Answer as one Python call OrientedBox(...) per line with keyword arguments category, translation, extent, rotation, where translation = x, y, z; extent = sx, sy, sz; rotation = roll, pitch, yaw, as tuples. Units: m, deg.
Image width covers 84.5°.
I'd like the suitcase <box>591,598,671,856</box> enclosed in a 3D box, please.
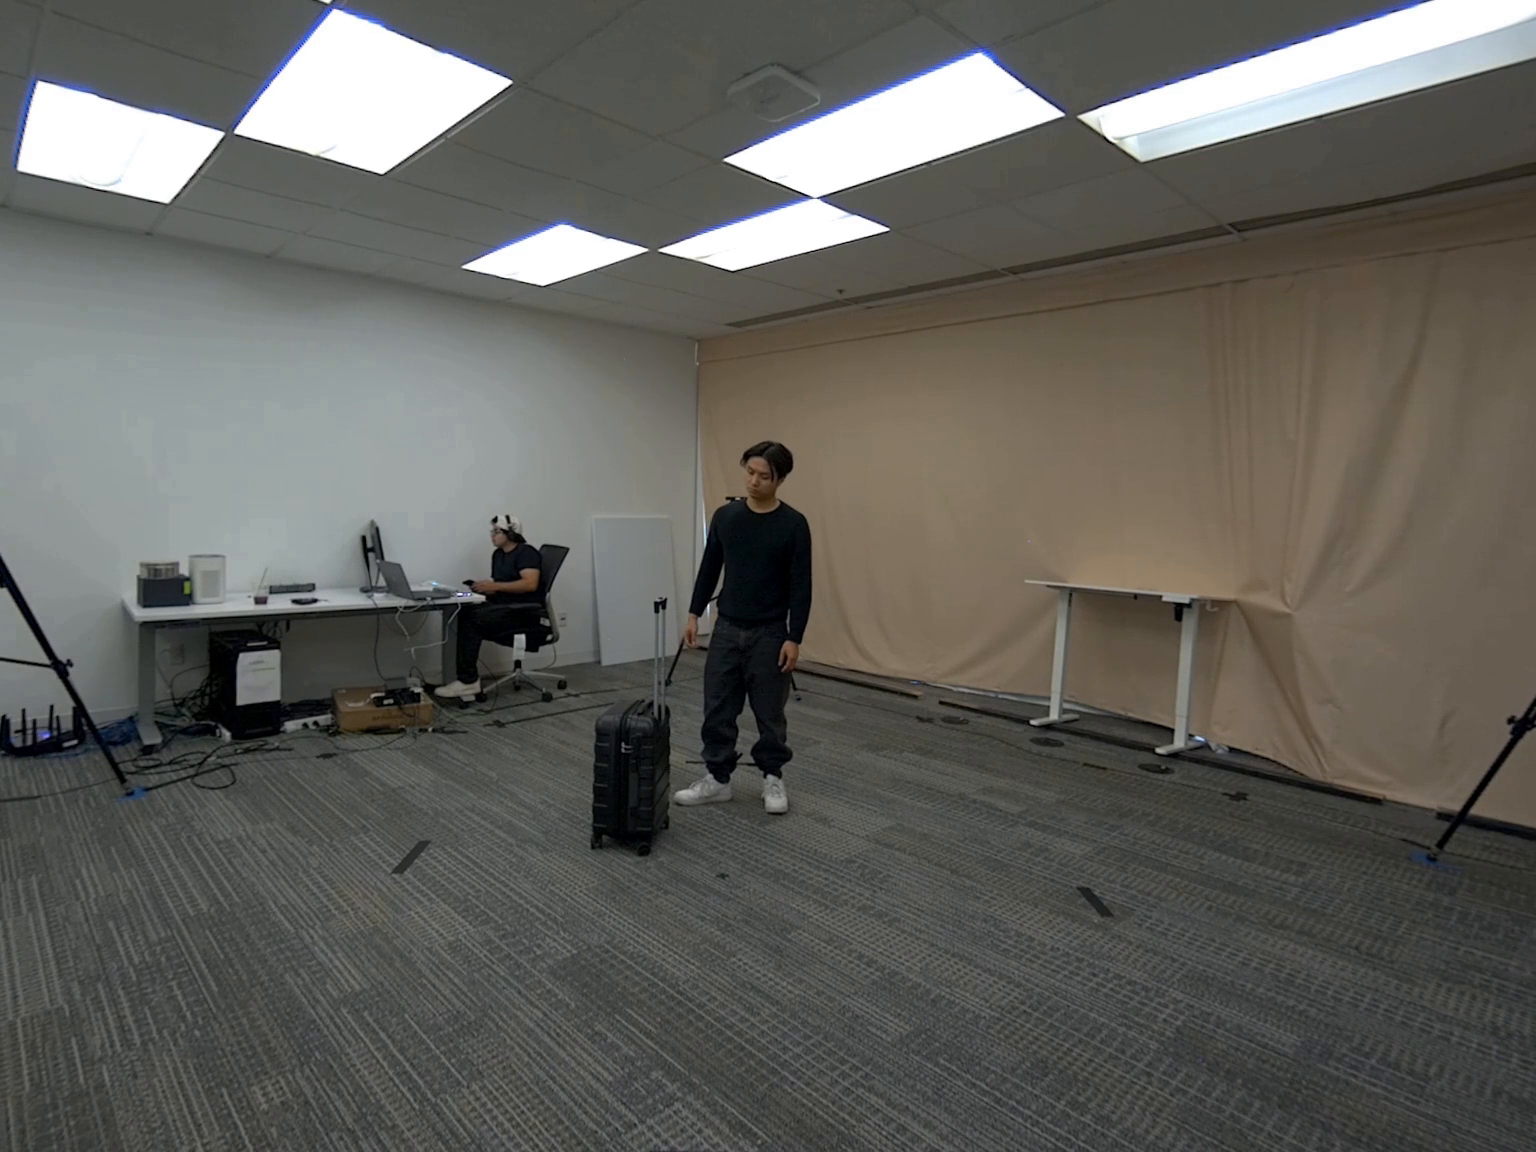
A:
OrientedBox(category="suitcase", translation=(-0.558, 0.589, 3.419), extent=(0.258, 0.977, 0.382), rotation=(0, 2, 6))
